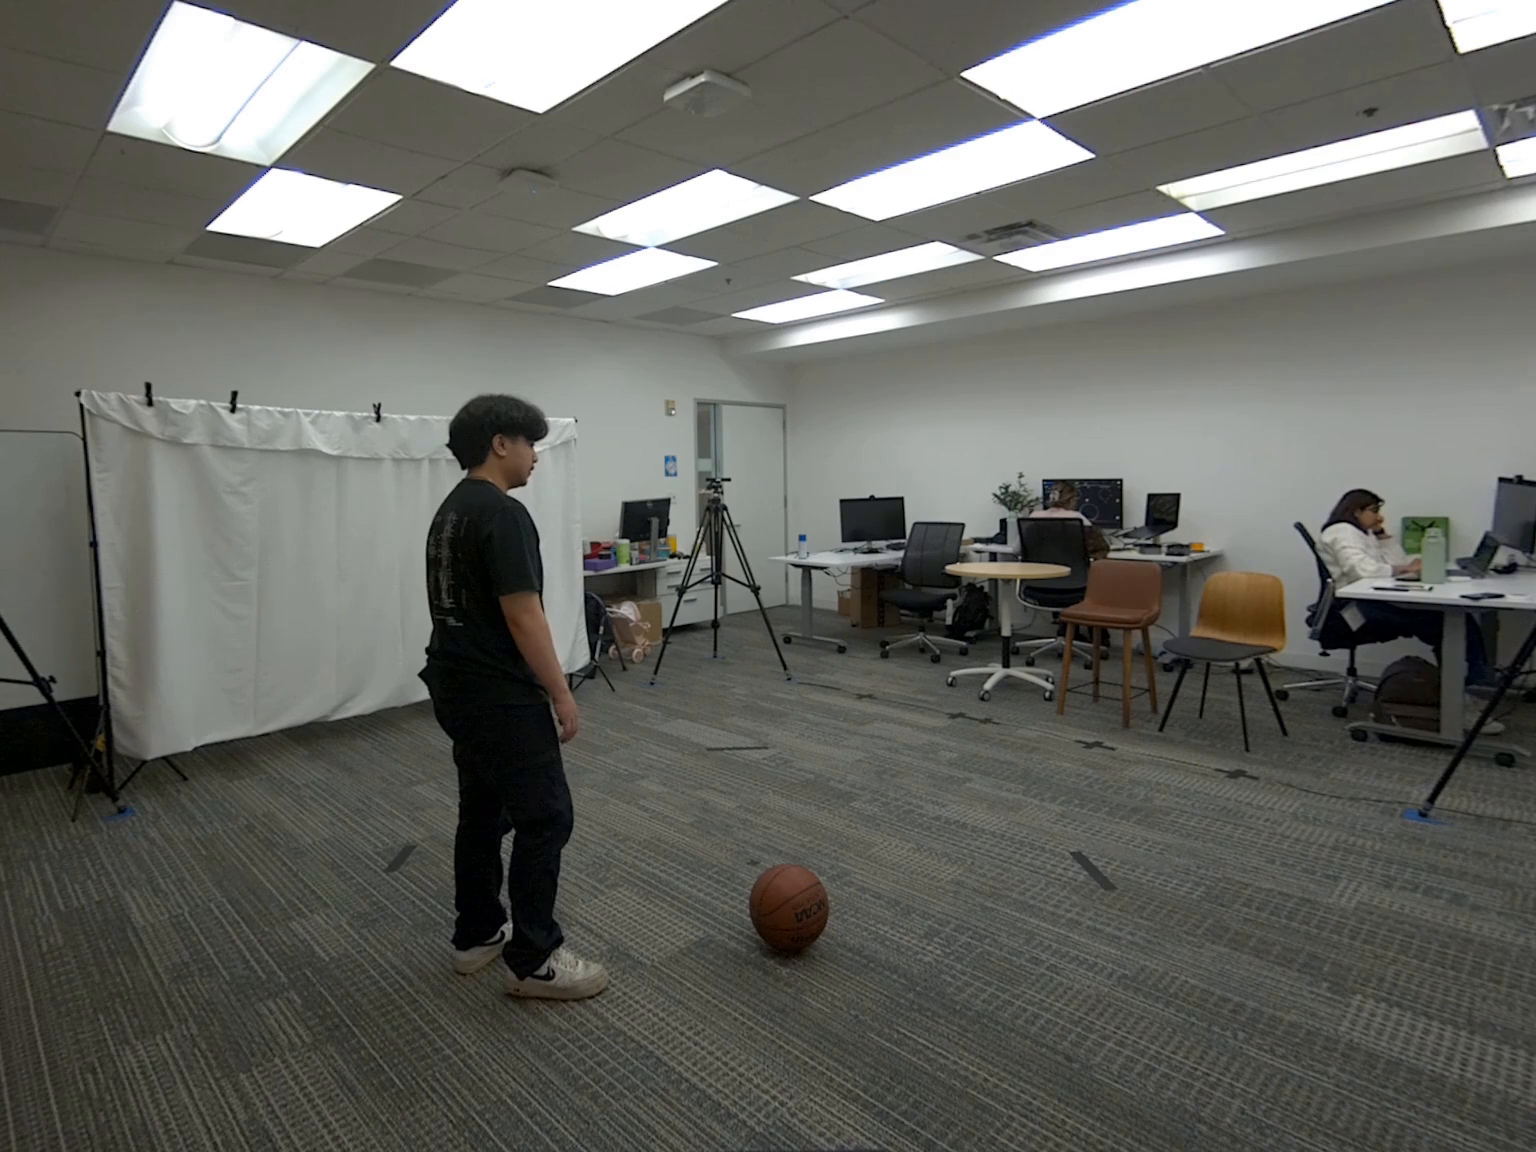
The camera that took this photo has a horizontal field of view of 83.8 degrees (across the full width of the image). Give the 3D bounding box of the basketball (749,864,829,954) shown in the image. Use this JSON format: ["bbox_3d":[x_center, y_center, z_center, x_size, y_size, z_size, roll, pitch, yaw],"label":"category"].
[{"bbox_3d":[0.066,0.985,2.553,0.236,0.235,0.237,-1,5,-2],"label":"basketball"}]
